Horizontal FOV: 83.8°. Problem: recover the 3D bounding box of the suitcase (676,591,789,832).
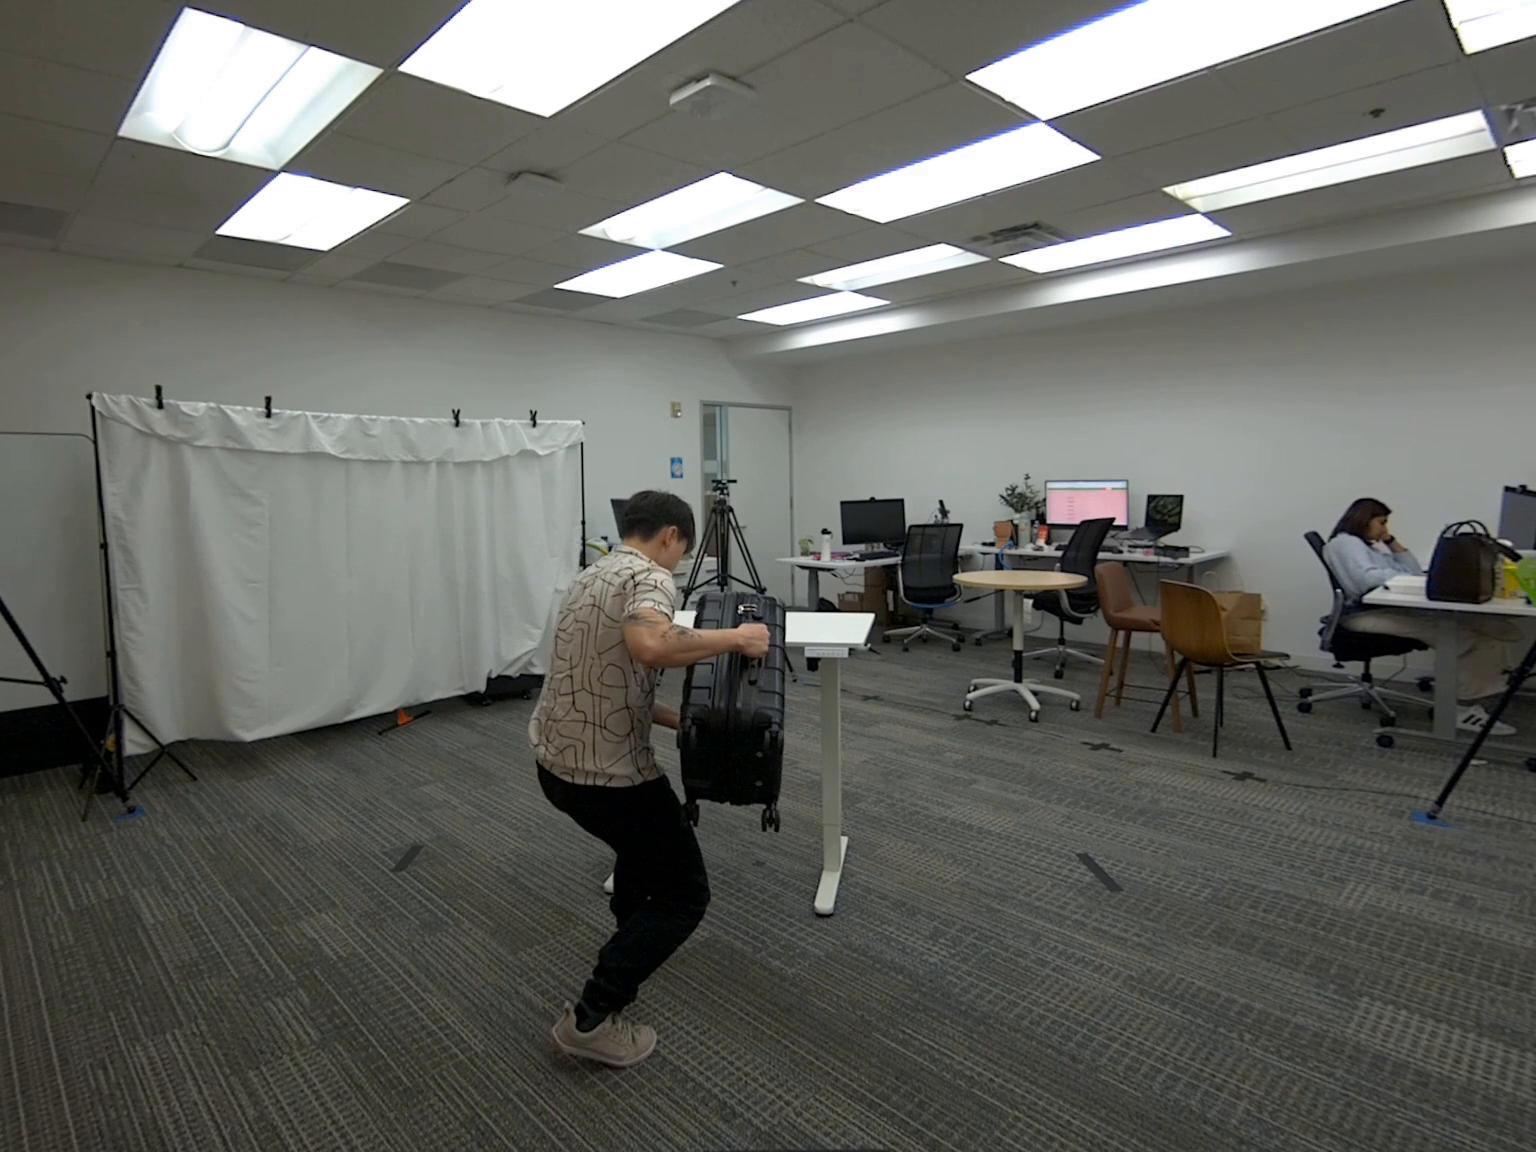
[{"bbox_3d":[-0.080,0.316,2.240,0.249,0.366,0.562,2,37,0],"label":"suitcase"}]
